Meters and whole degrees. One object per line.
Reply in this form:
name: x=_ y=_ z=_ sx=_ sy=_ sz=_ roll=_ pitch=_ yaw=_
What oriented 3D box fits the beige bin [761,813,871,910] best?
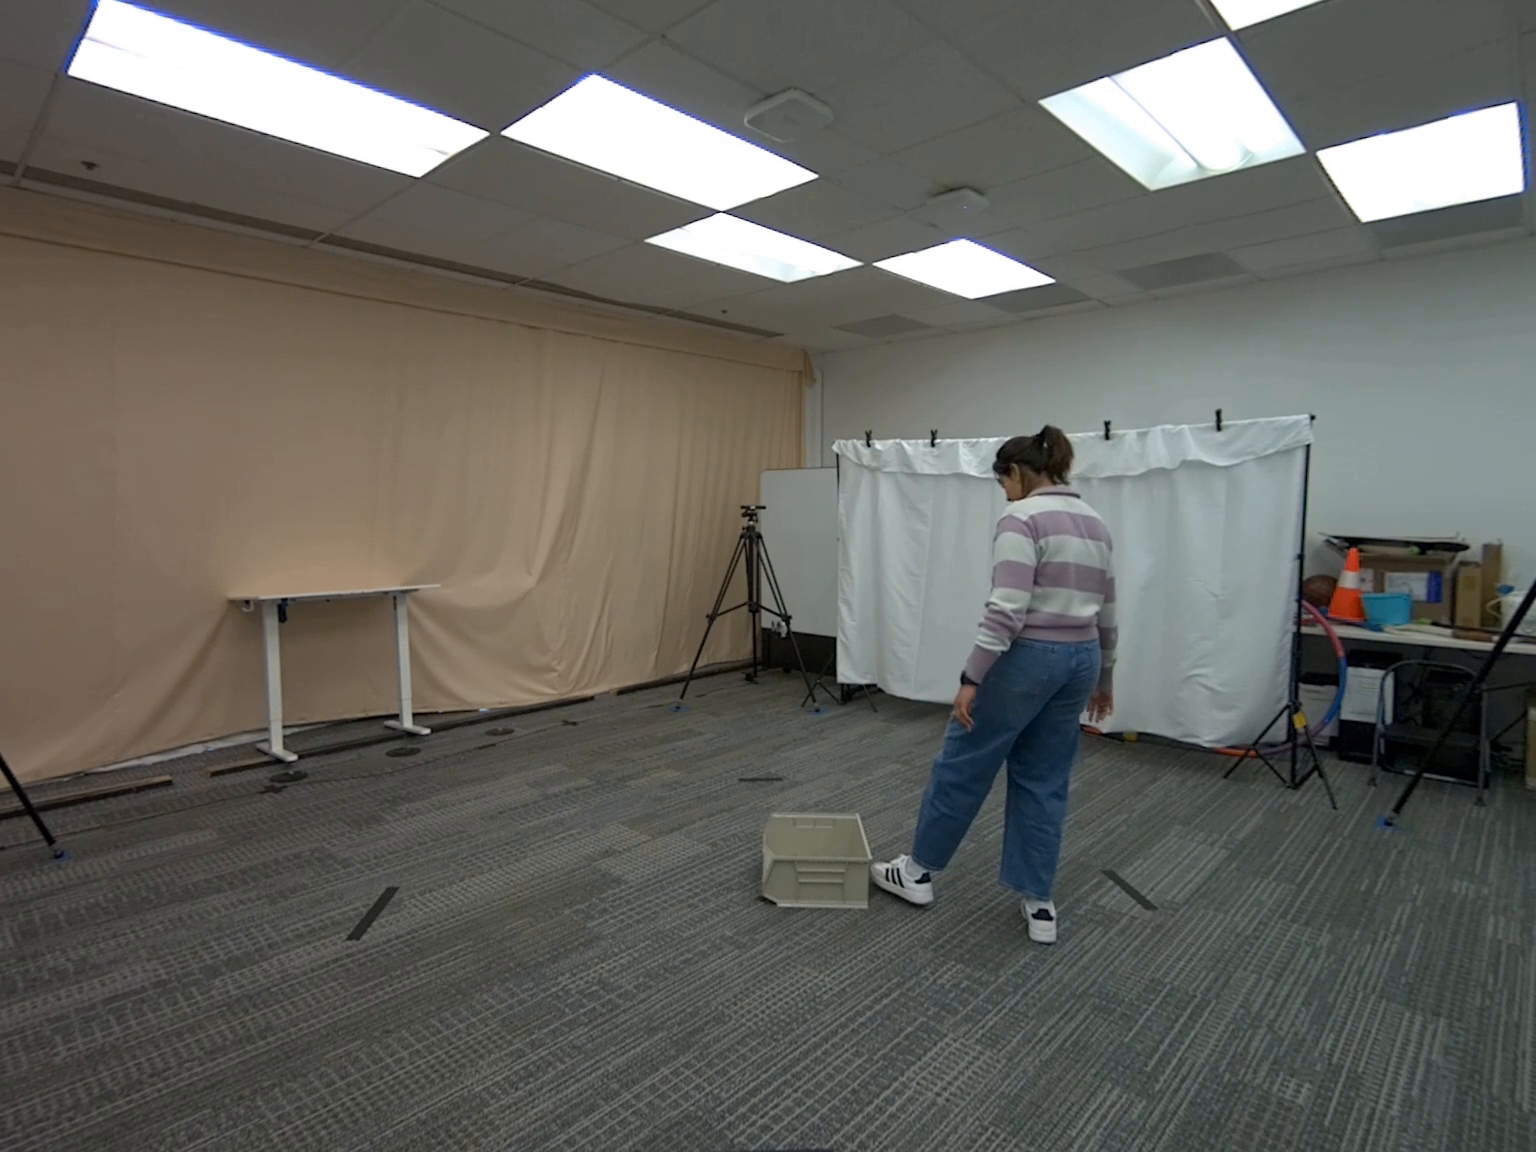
beige bin: x=0.169 y=1.046 z=3.114 sx=0.378 sy=0.188 sz=0.423 roll=1 pitch=4 yaw=1
